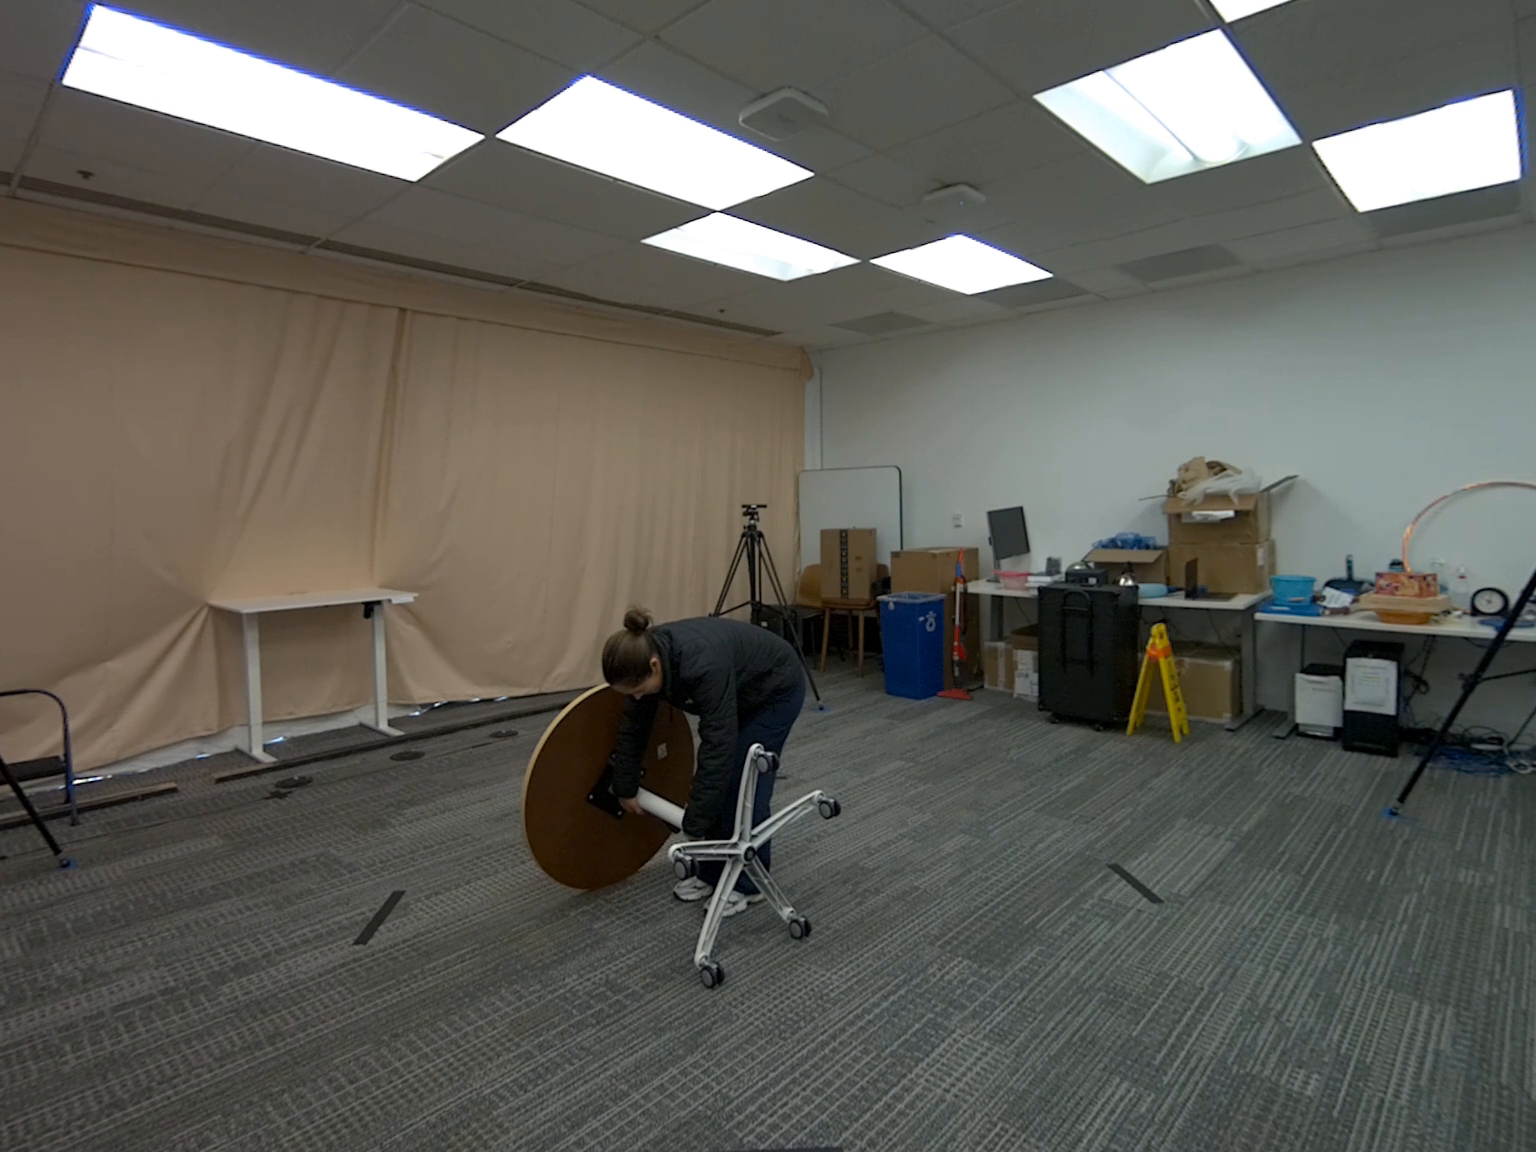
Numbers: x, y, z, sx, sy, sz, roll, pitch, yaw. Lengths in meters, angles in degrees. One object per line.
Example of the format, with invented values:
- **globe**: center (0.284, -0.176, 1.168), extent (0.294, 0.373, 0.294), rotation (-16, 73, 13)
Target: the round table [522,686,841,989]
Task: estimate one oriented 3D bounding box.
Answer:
- **round table**: center (-0.259, 0.824, 2.824), extent (0.814, 0.782, 0.761), rotation (10, 10, 43)
